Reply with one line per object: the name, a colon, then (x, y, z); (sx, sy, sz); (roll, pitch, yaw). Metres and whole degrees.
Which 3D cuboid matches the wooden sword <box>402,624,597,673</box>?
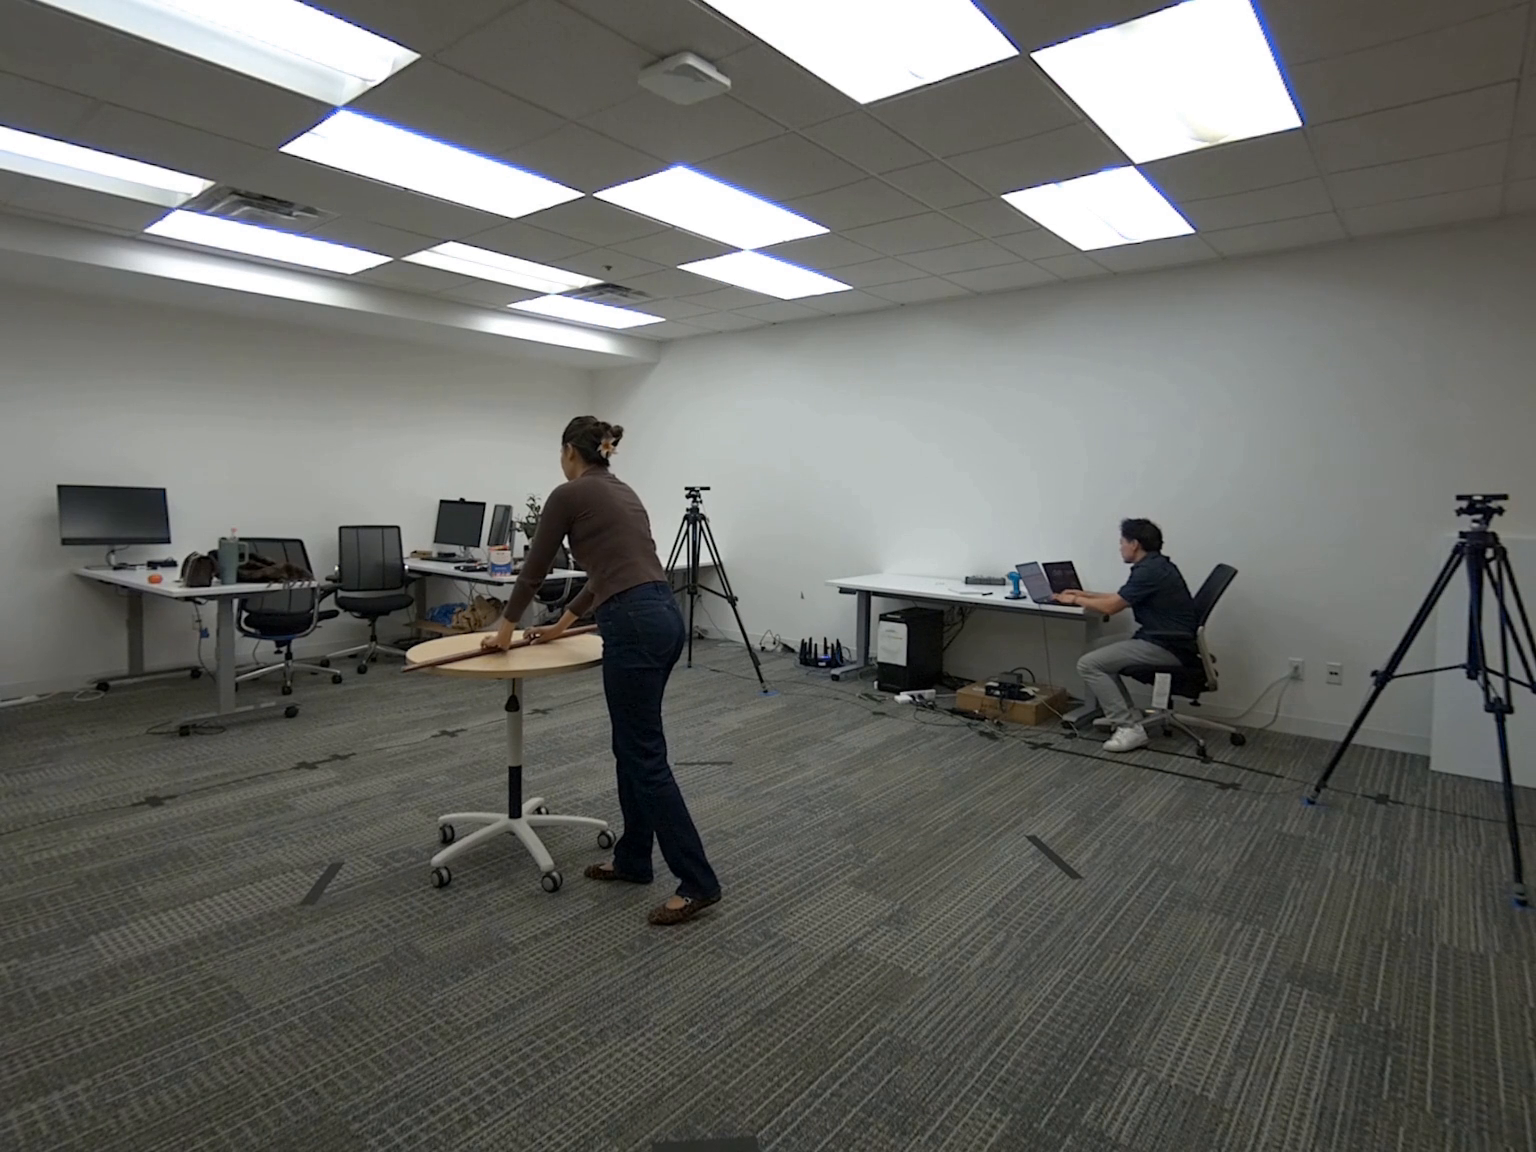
wooden sword: (-0.951, 0.247, 3.221); (0.025, 0.051, 0.999); (4, 6, 28)
